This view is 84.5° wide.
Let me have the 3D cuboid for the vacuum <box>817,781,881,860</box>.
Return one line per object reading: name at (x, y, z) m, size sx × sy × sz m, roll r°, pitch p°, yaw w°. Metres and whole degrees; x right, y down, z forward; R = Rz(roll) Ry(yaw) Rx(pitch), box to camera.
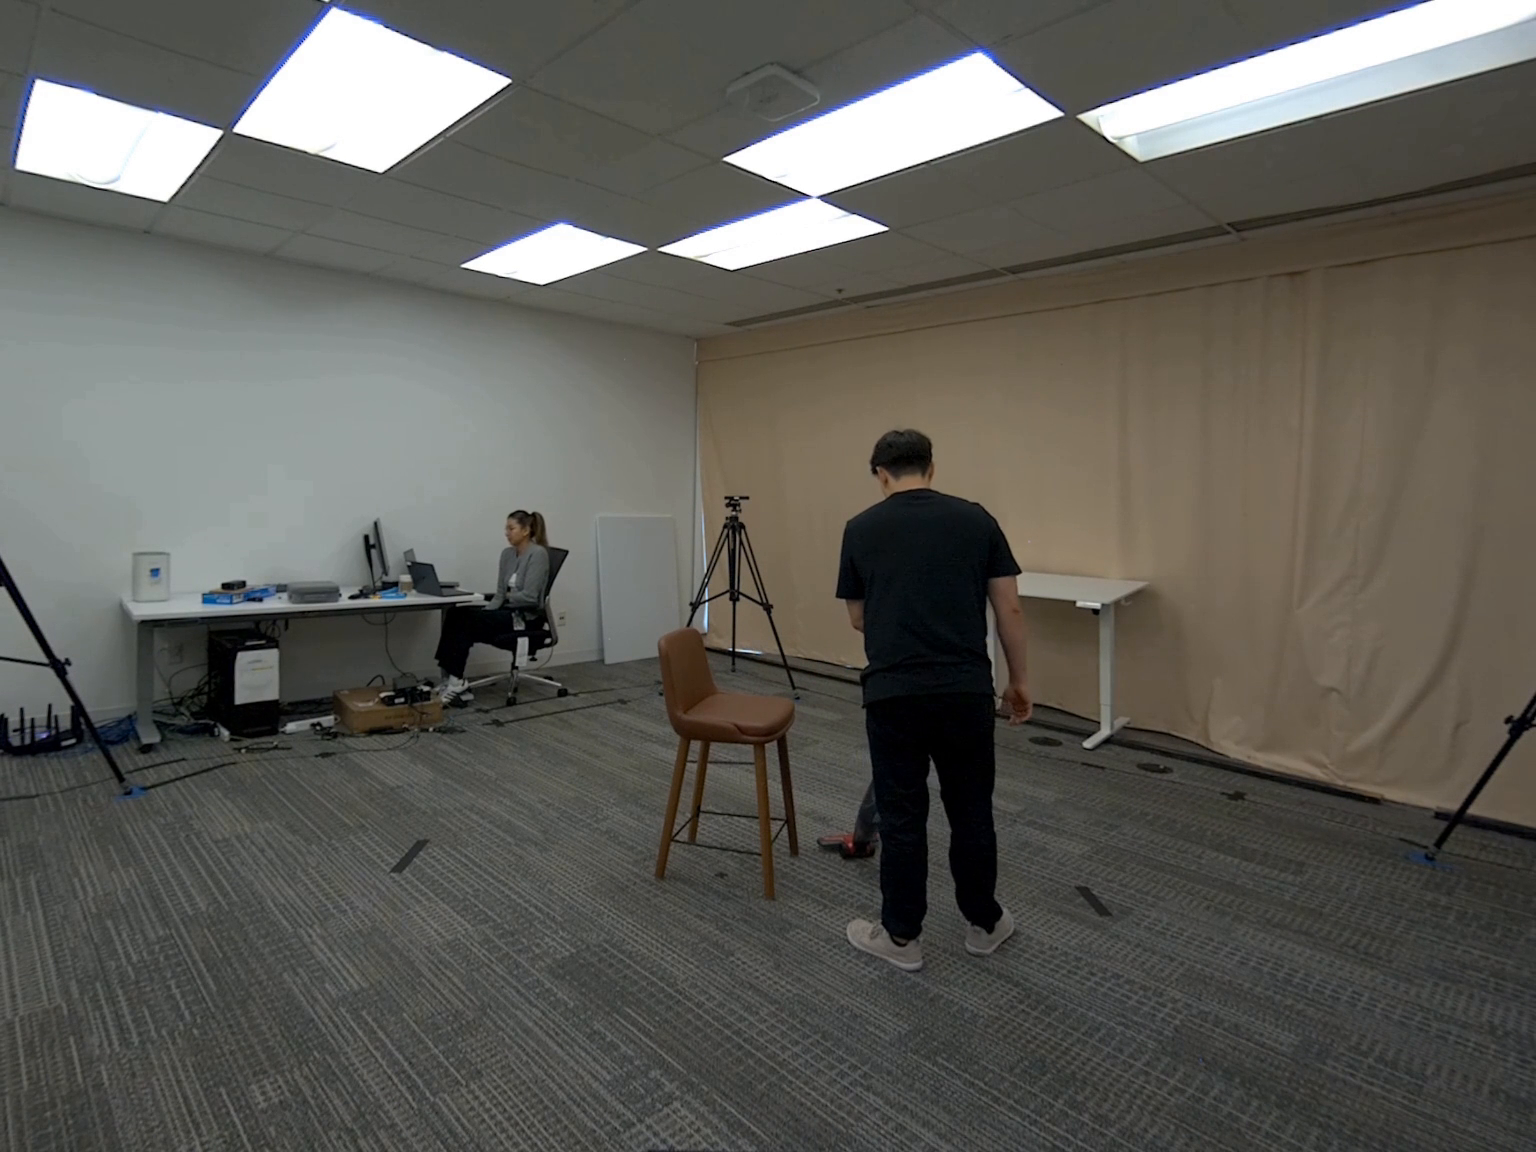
vacuum at (0.437, 0.704, 3.022) m, size 0.249 × 1.033 × 0.148 m, roll -2°, pitch 43°, yaw -19°
